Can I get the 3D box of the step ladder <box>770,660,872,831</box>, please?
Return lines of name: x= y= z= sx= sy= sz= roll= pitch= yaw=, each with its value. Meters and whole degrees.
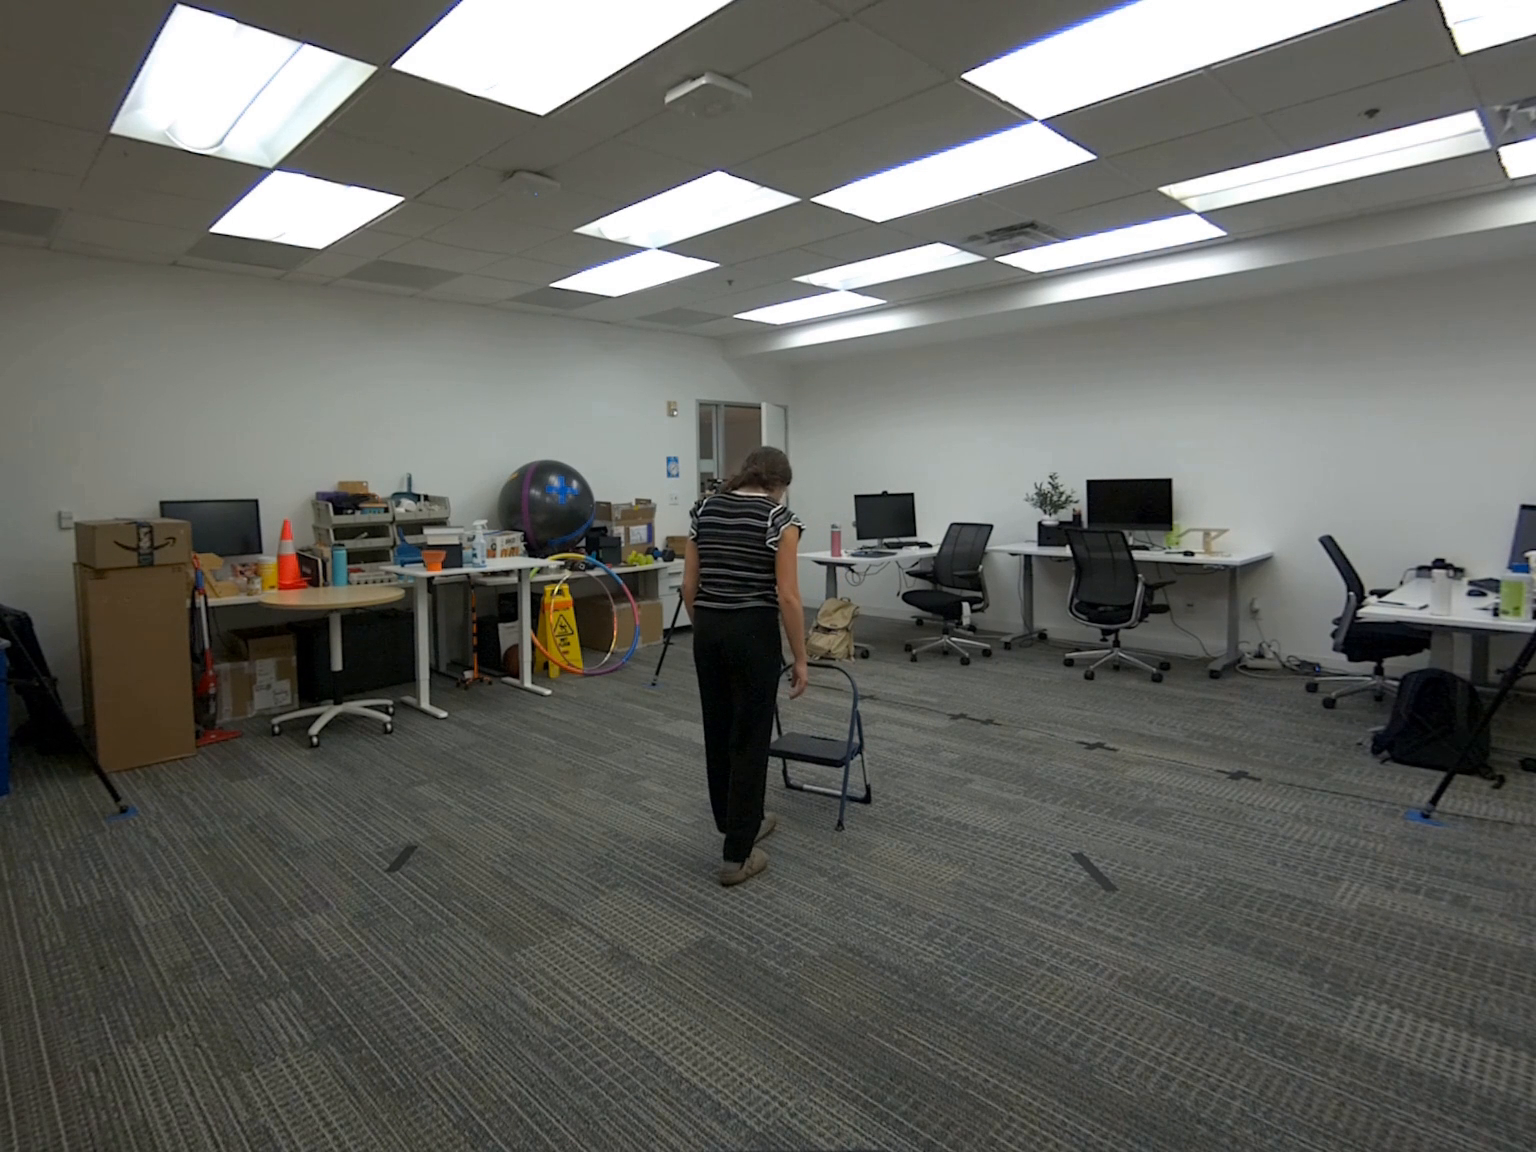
step ladder: x=0.184 y=0.681 z=3.615 sx=0.442 sy=0.604 sz=0.341 roll=2 pitch=5 yaw=30
